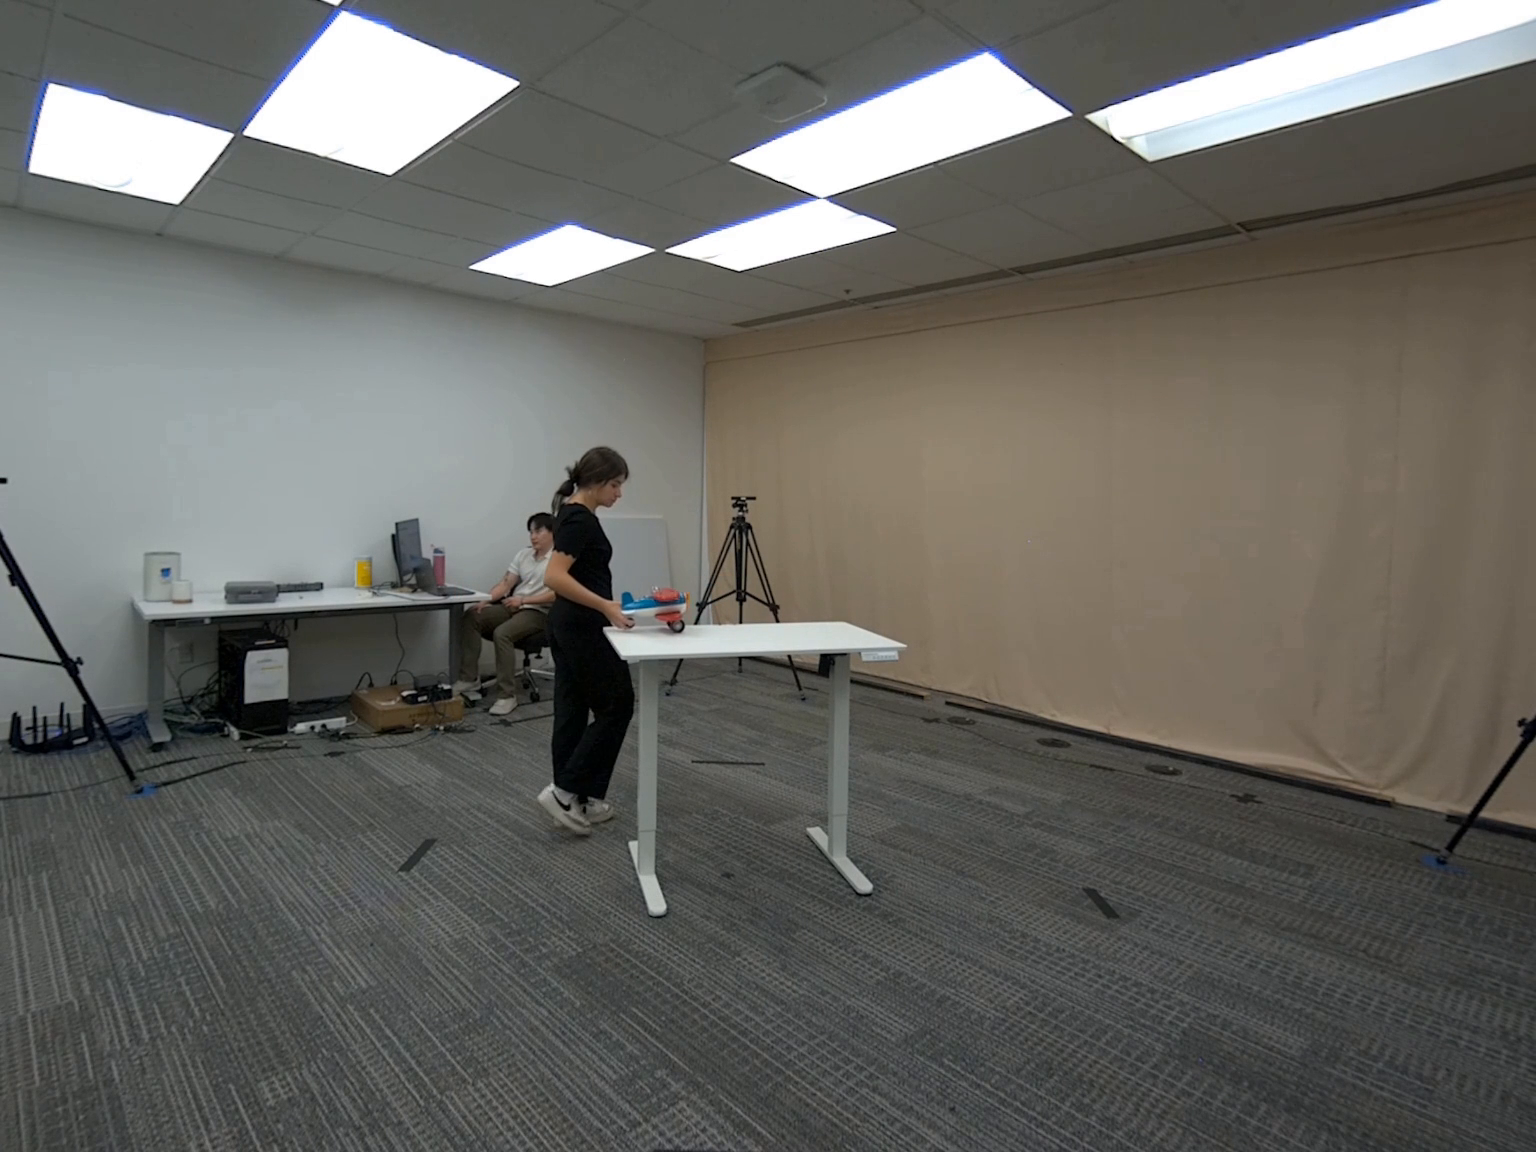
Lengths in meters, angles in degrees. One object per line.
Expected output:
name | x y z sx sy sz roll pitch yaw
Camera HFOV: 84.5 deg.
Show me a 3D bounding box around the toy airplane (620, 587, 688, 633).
toy airplane | -0.431 0.125 3.177 0.252 0.156 0.258 6 3 -41
